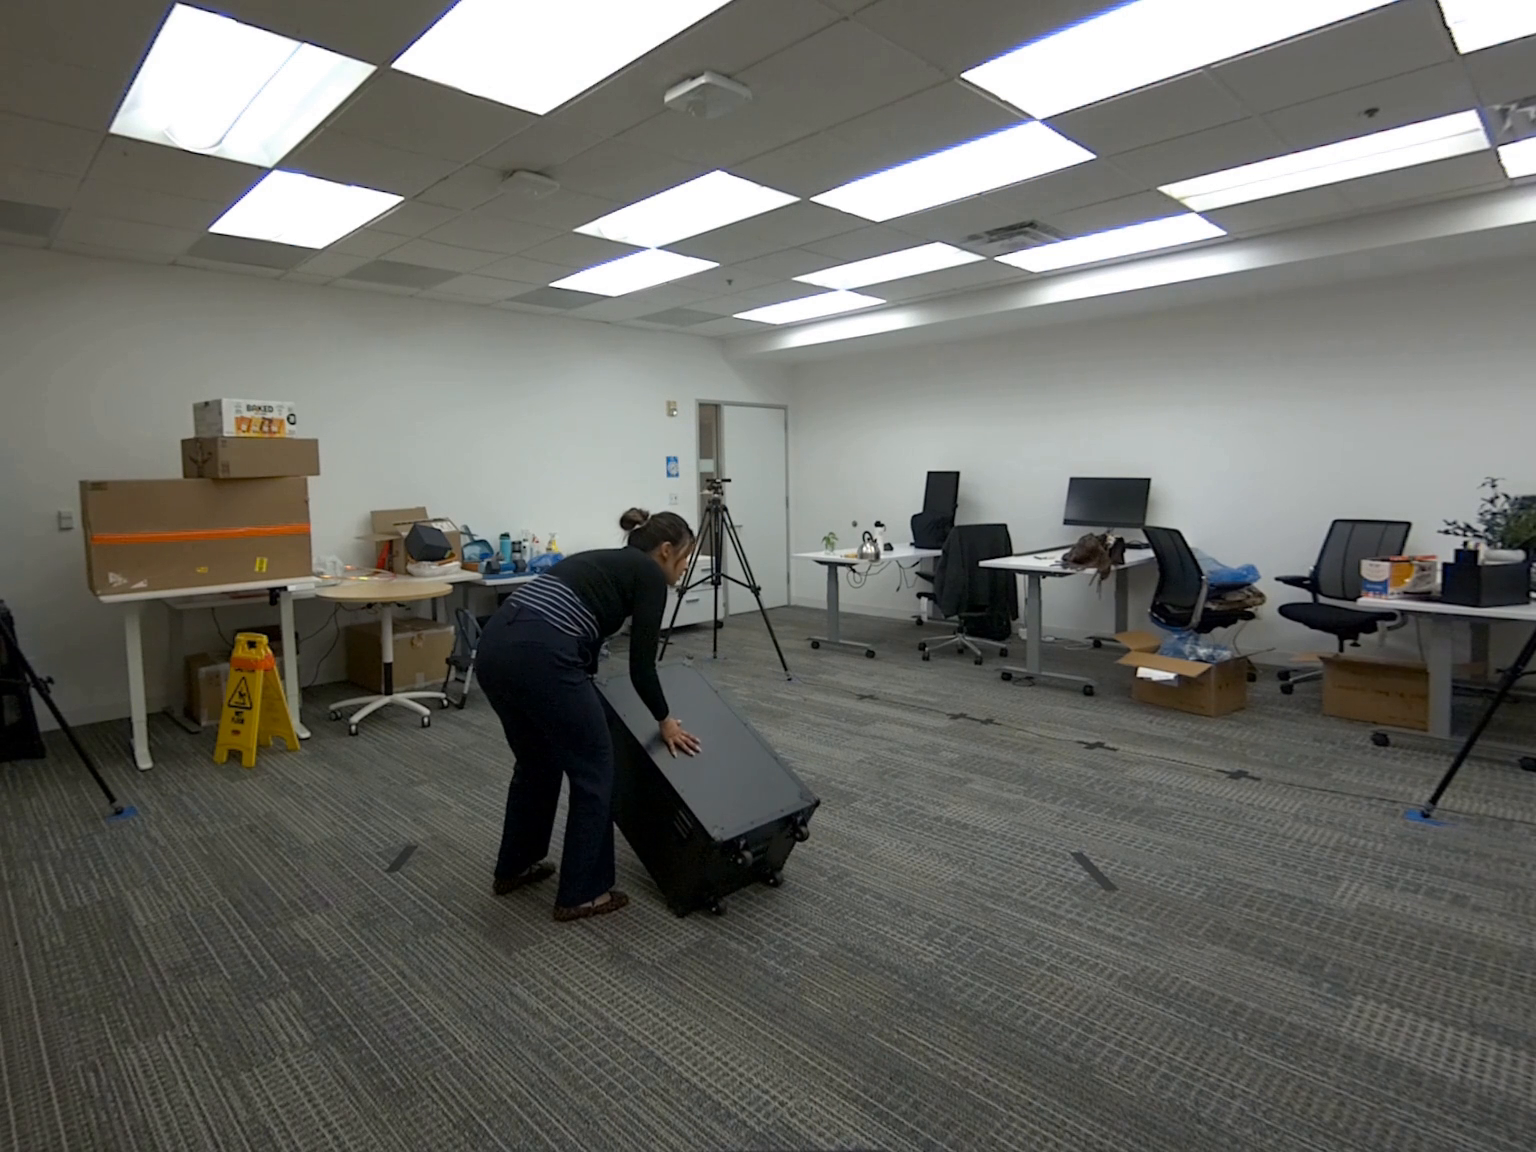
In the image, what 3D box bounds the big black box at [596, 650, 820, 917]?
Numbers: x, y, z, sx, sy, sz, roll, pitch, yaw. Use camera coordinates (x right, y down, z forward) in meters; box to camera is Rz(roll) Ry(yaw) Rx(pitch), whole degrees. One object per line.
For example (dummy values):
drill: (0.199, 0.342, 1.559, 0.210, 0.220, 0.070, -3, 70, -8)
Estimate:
big black box: (-0.308, 0.693, 3.070, 0.508, 0.391, 0.894, -7, 39, -42)
